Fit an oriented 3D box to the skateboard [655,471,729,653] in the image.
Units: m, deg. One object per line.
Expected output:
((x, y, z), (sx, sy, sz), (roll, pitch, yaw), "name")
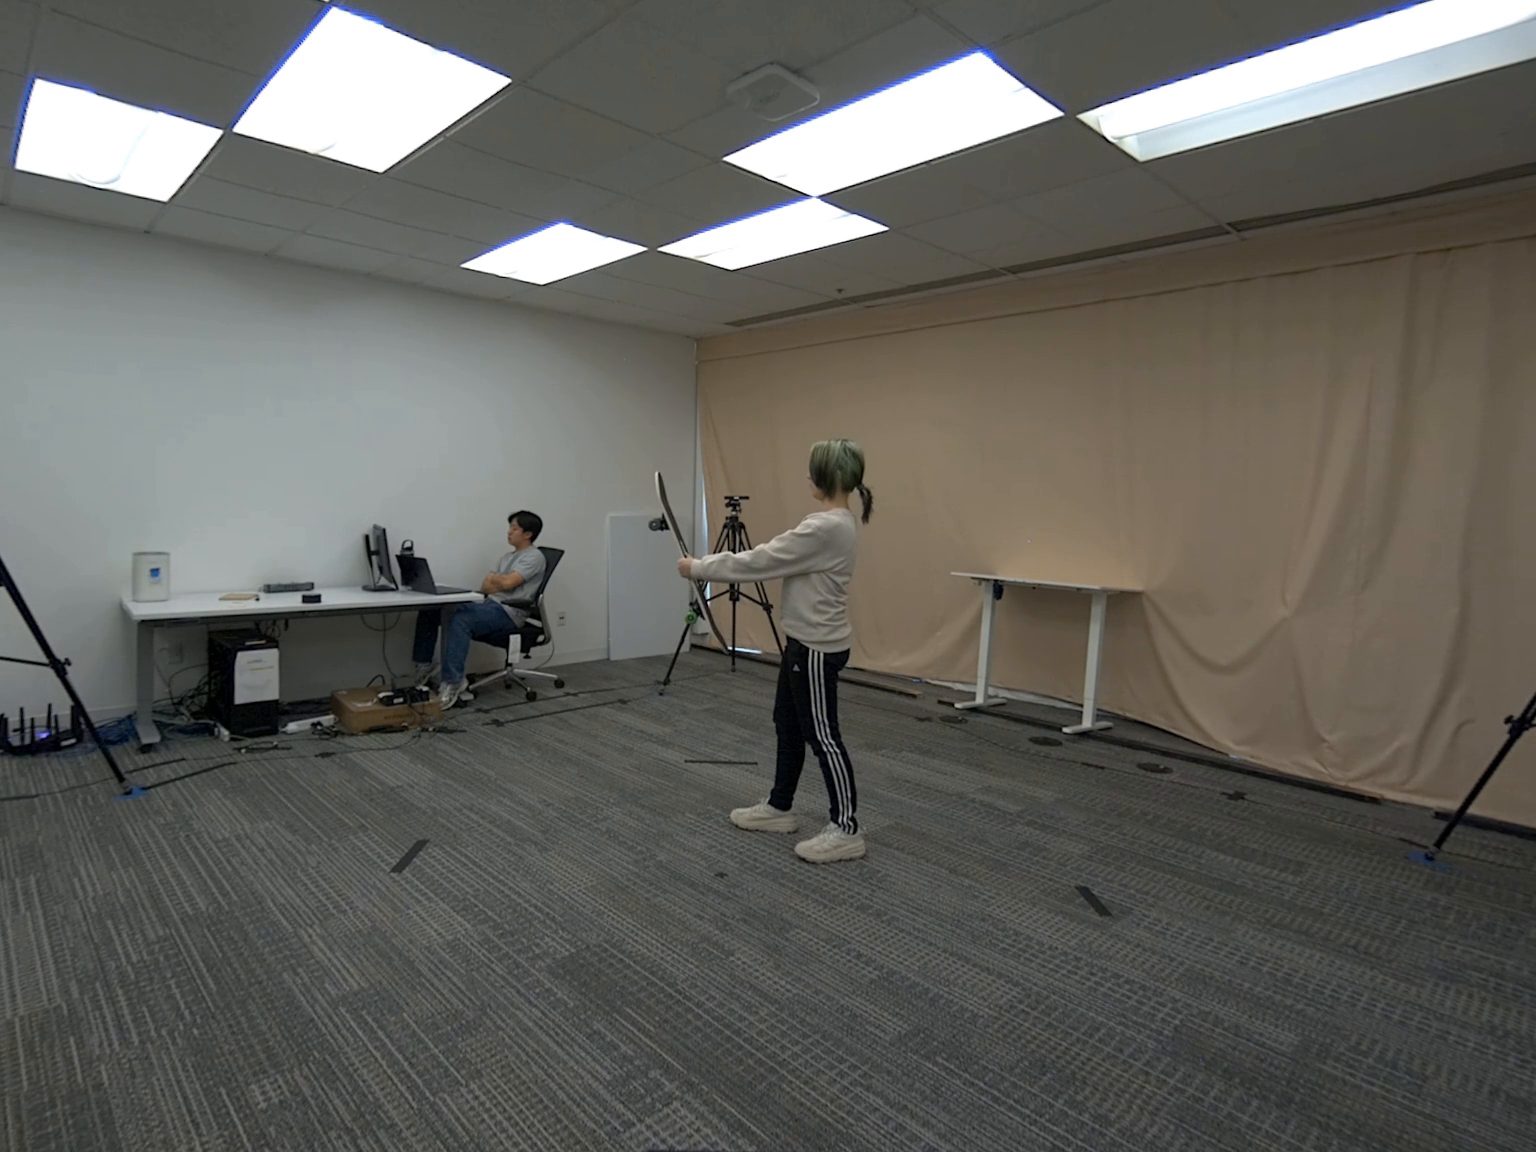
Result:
((-0.352, -0.036, 3.408), (0.110, 0.783, 0.194), (-21, 3, 2), "skateboard")
